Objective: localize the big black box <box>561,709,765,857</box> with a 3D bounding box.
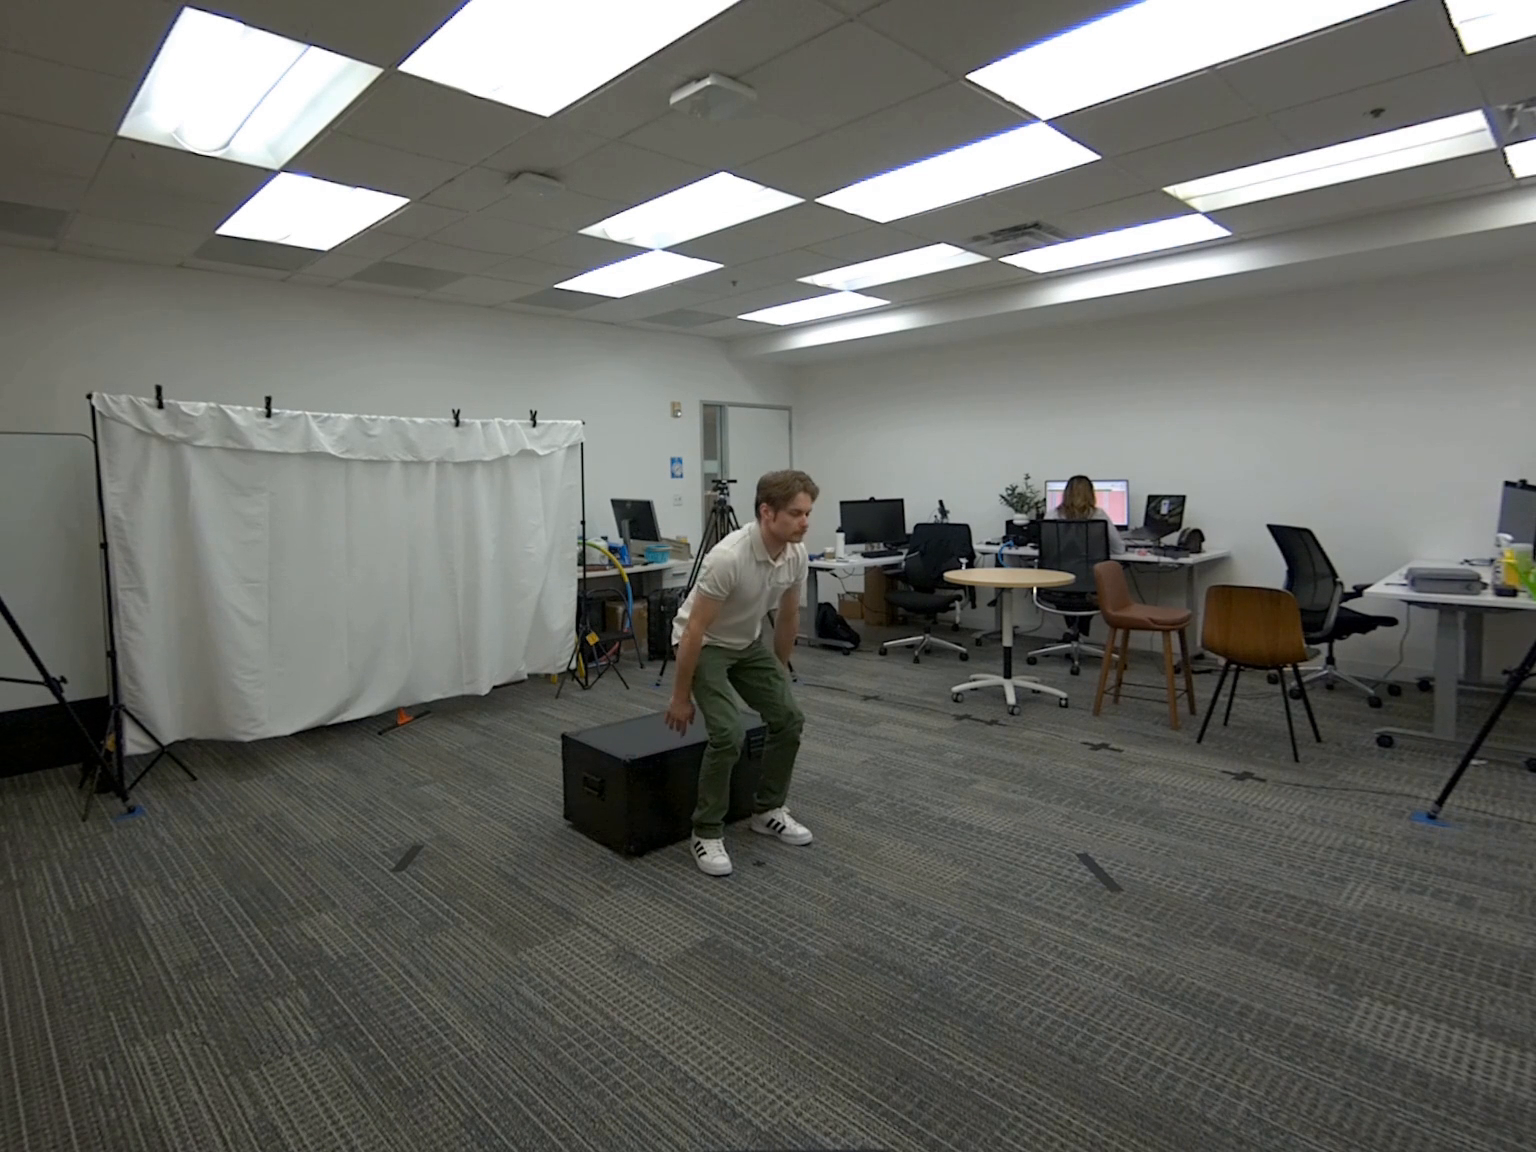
[{"bbox_3d":[-0.362,0.804,3.575,0.846,0.384,0.539,-6,6,-41],"label":"big black box"}]
